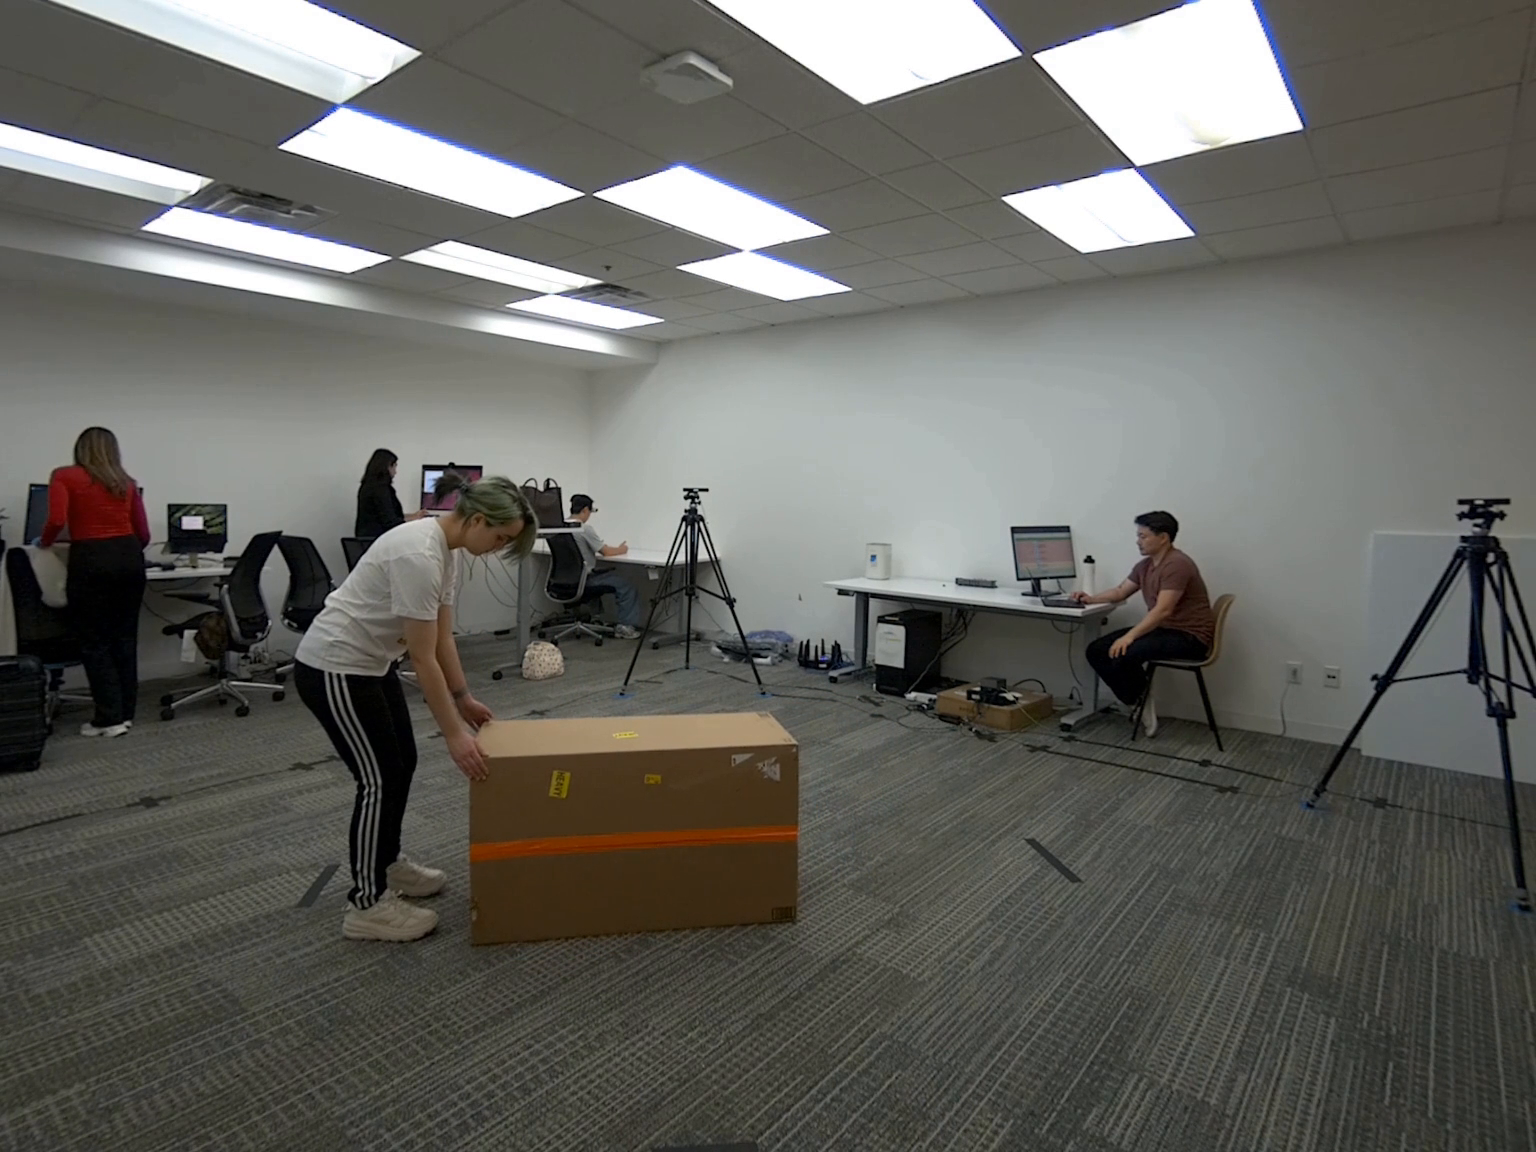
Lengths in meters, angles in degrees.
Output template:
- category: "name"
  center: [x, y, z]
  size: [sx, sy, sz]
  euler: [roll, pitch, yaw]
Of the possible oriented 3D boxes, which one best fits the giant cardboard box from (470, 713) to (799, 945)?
- category: "giant cardboard box"
  center: [-0.455, 0.803, 2.835]
  size: [1.015, 0.582, 0.454]
  euler: [-1, 5, -11]
